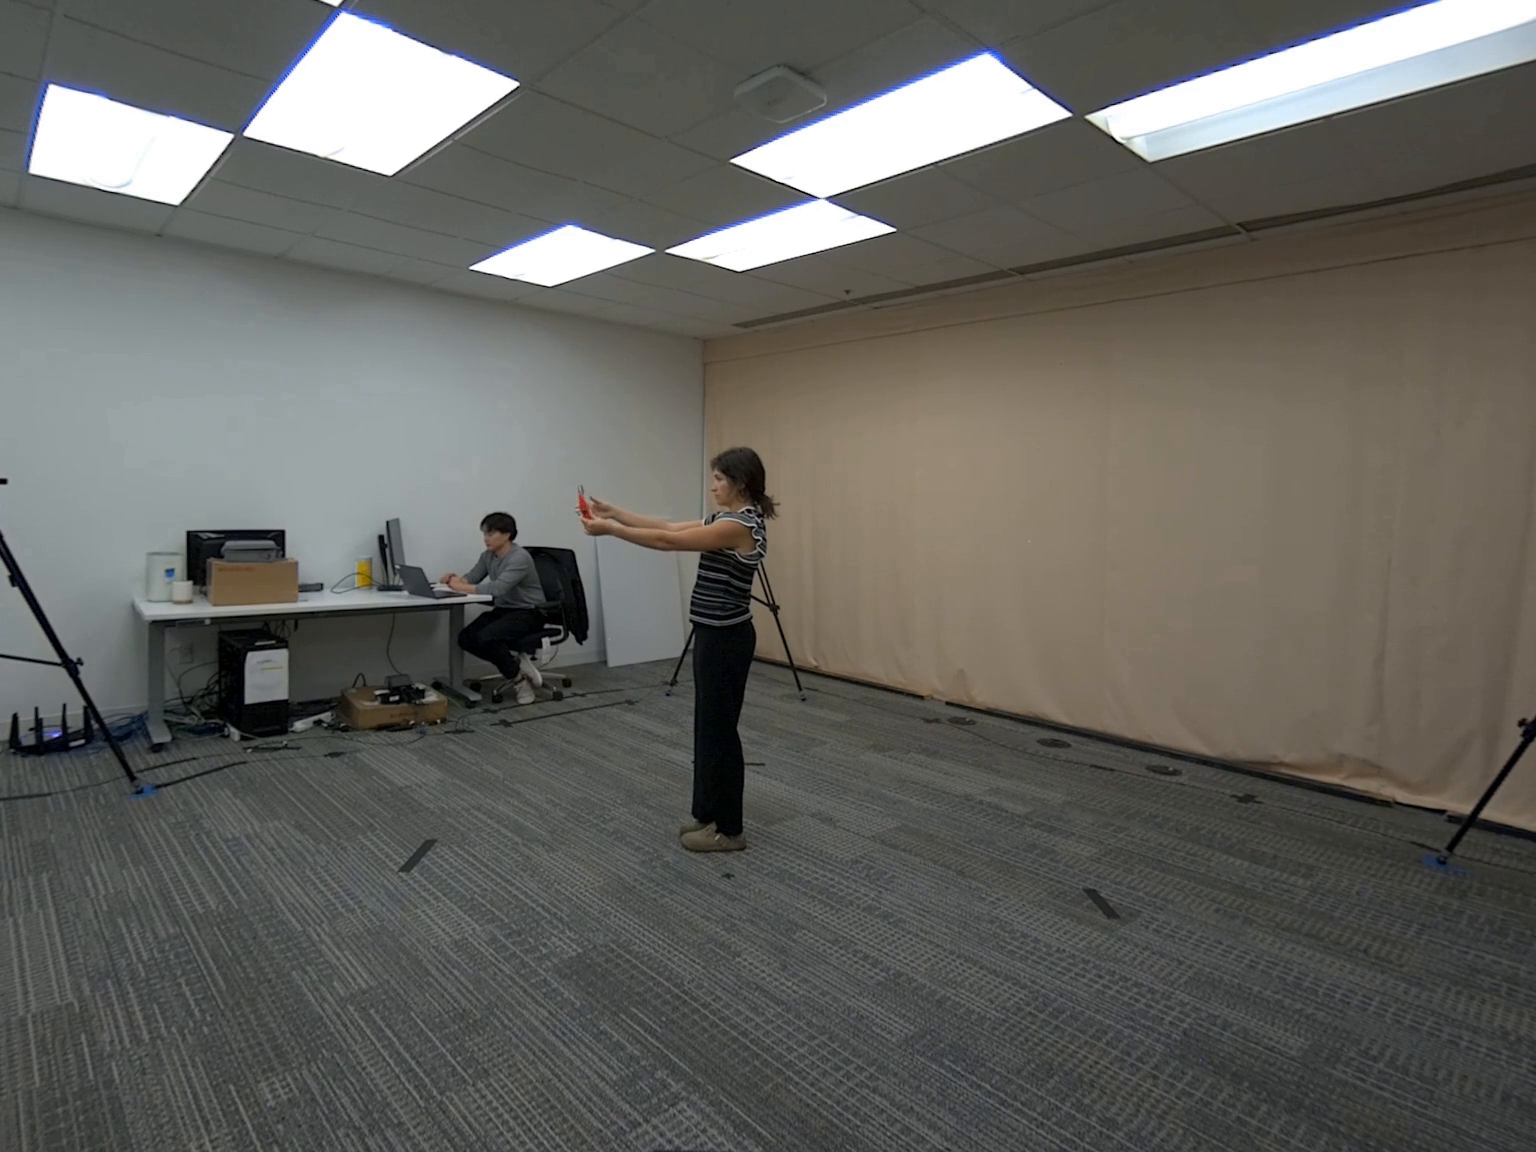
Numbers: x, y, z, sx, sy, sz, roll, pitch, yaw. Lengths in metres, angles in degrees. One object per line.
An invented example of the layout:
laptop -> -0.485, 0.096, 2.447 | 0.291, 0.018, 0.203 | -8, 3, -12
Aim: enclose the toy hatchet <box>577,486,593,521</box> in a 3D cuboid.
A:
toy hatchet -> -0.740, -0.280, 3.338 | 0.029, 0.129, 0.275 | -20, 16, -7
